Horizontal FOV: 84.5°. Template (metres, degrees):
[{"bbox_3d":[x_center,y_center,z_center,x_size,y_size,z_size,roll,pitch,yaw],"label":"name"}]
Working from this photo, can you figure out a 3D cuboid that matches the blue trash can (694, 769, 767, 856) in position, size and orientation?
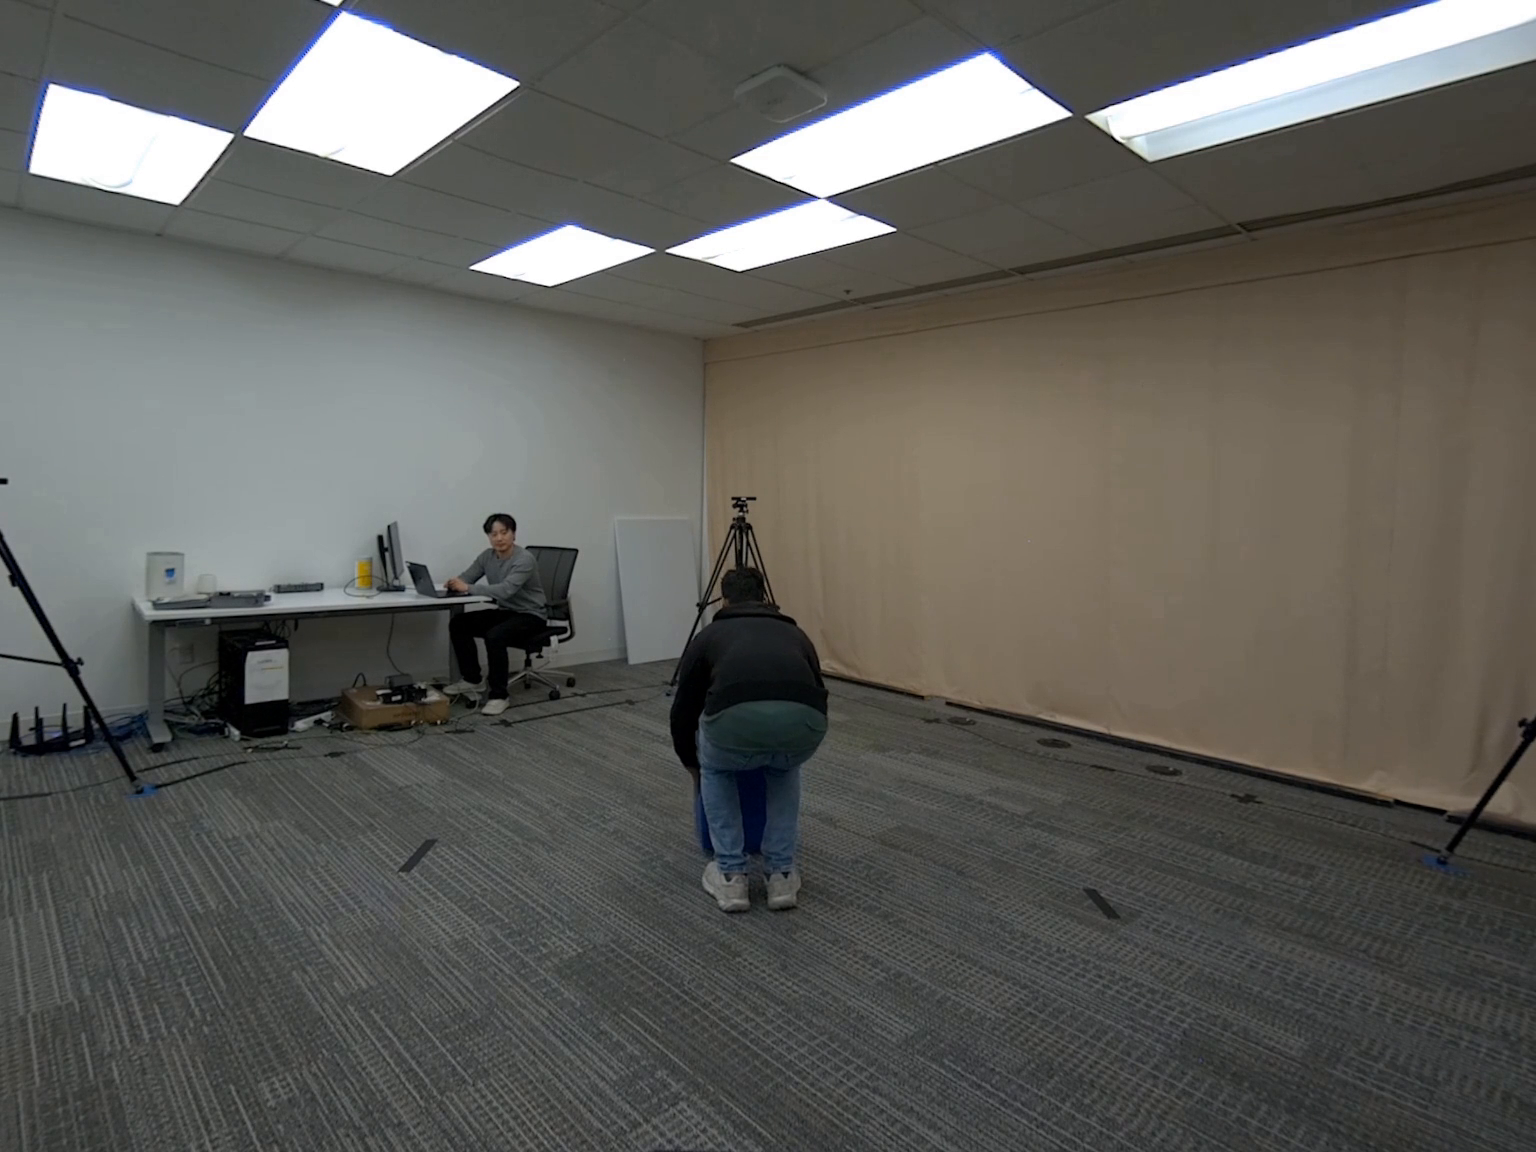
[{"bbox_3d":[-0.138,0.680,3.416,0.375,0.713,0.377,0,1,-10],"label":"blue trash can"}]
